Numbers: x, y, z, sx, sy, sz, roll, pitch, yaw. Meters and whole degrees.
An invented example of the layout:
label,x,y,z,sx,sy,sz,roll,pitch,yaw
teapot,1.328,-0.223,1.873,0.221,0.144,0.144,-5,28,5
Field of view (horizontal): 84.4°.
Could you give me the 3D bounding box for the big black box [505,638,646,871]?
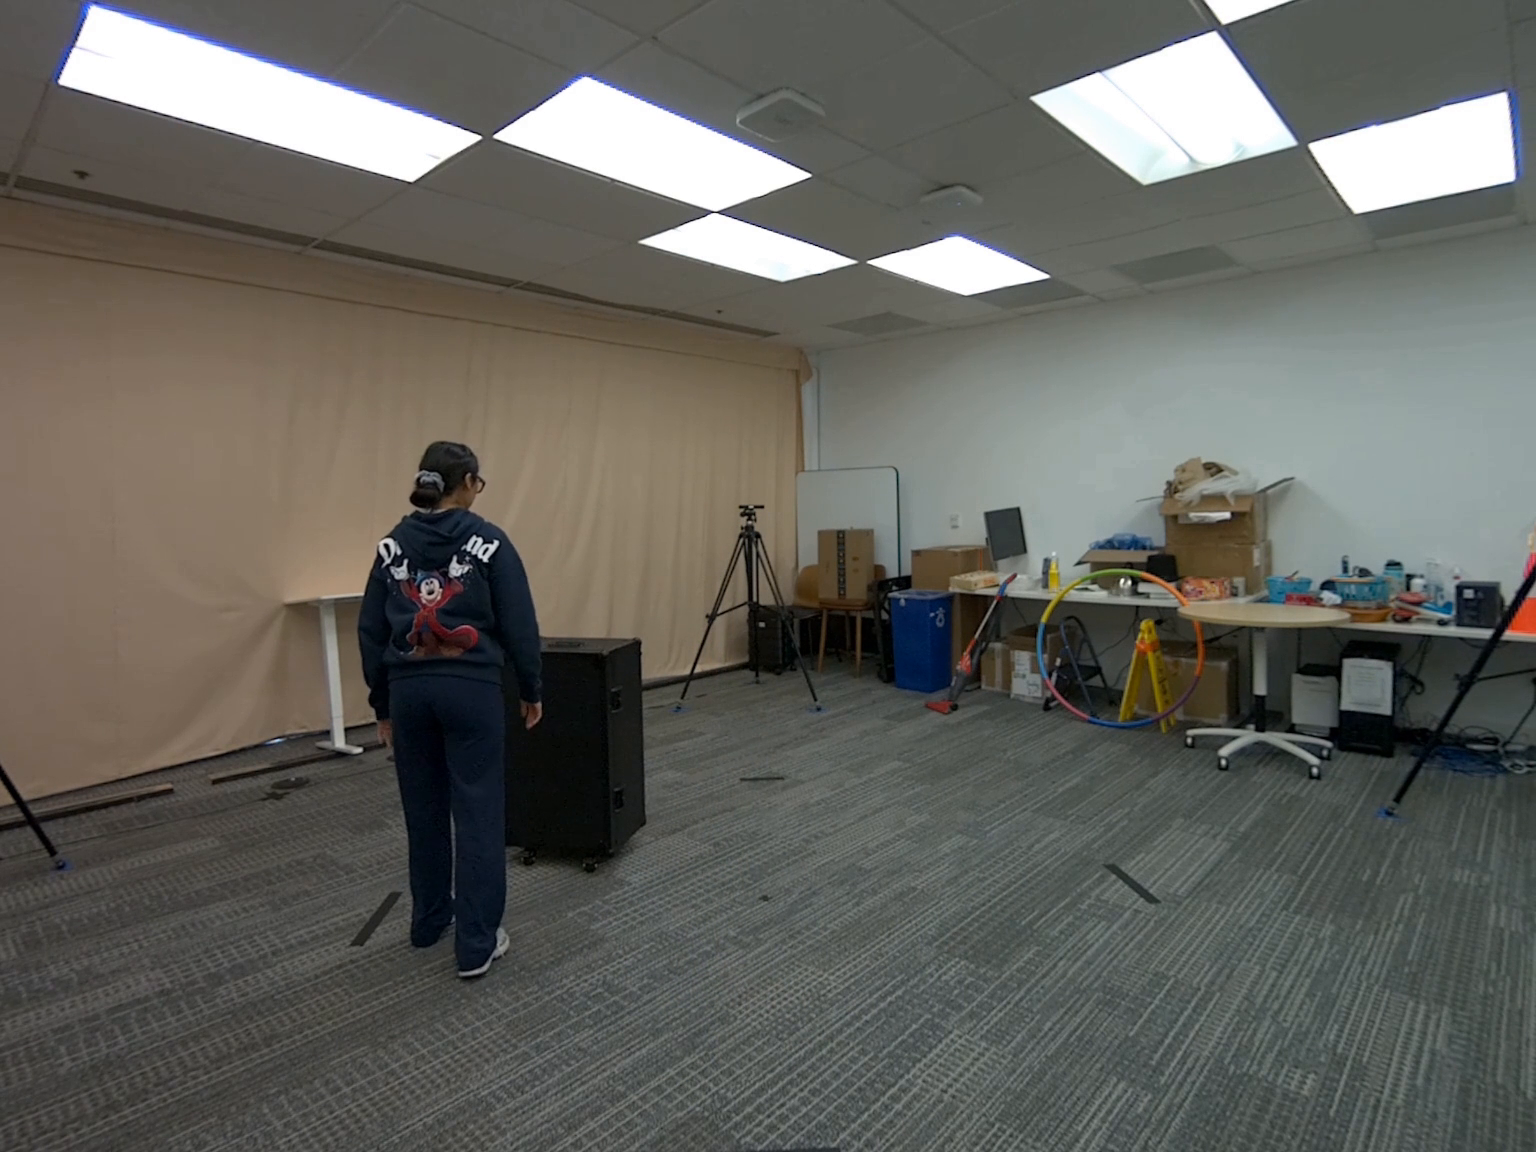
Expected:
label,x,y,z,sx,sy,sz,roll,pitch,yaw
big black box,-0.793,0.695,3.427,0.531,0.860,0.390,0,2,16
